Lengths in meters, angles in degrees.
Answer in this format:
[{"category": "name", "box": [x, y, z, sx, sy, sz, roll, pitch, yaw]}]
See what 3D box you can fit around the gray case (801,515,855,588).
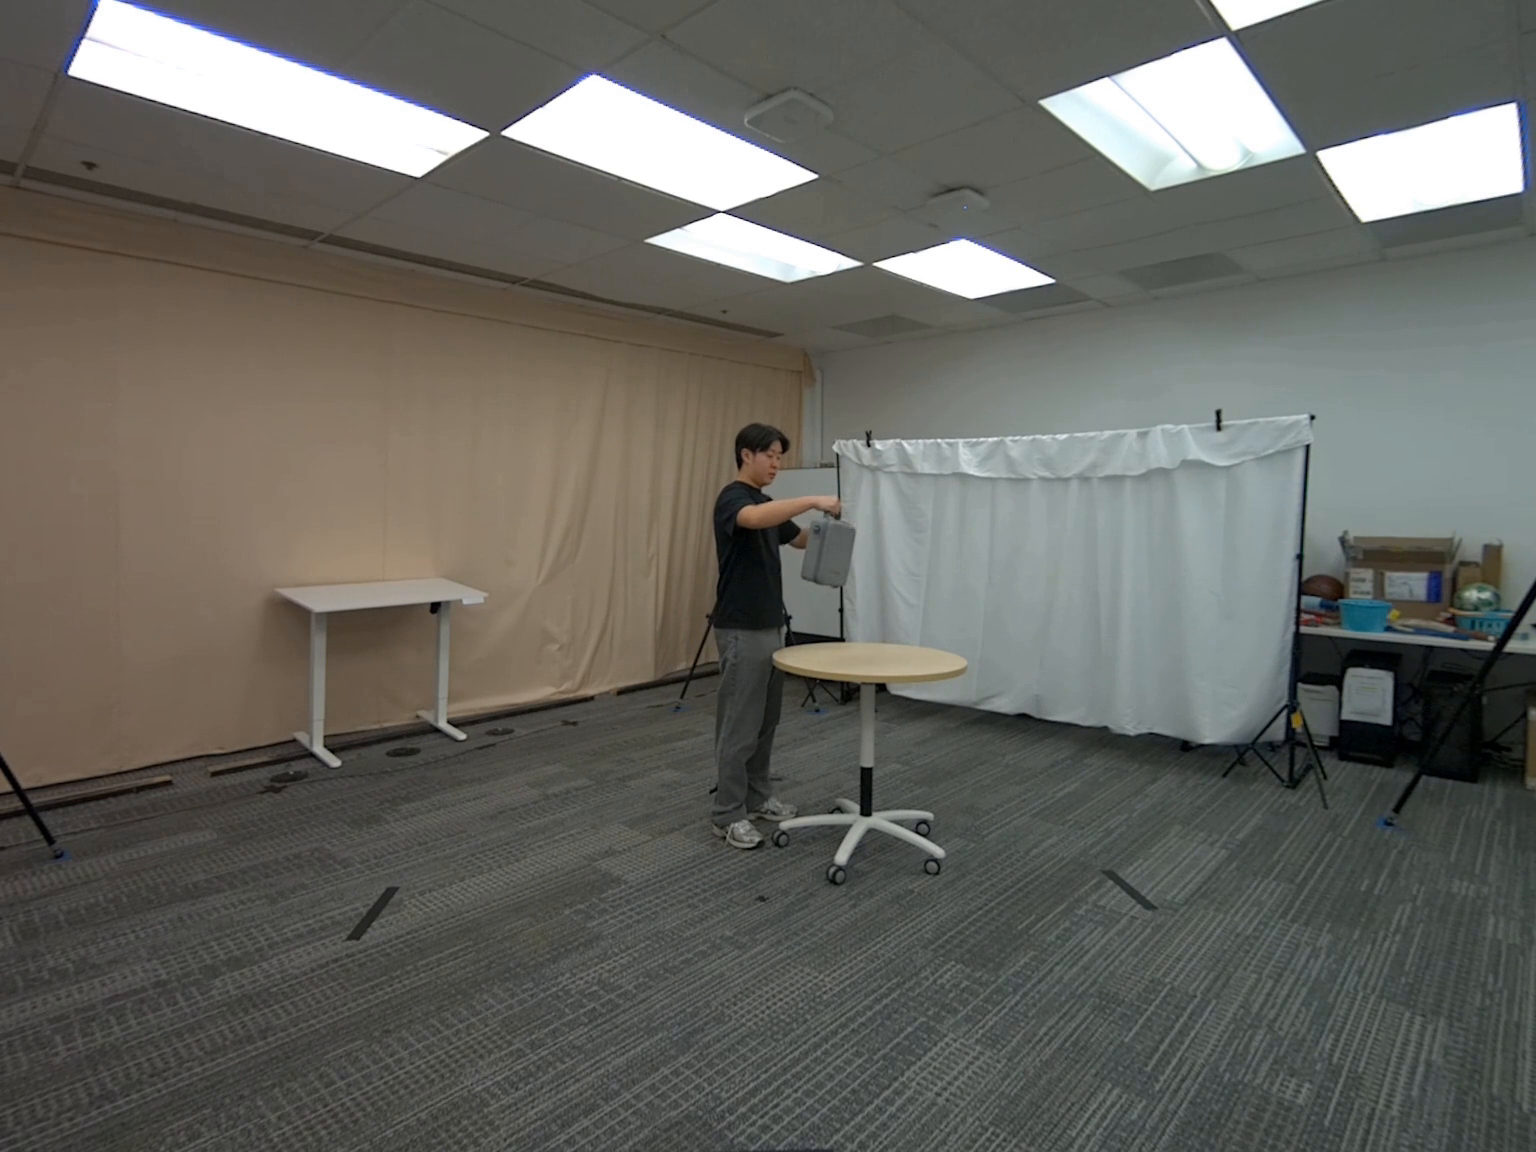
[{"category": "gray case", "box": [0.243, -0.103, 3.313, 0.106, 0.287, 0.255, 8, -1, 31]}]
